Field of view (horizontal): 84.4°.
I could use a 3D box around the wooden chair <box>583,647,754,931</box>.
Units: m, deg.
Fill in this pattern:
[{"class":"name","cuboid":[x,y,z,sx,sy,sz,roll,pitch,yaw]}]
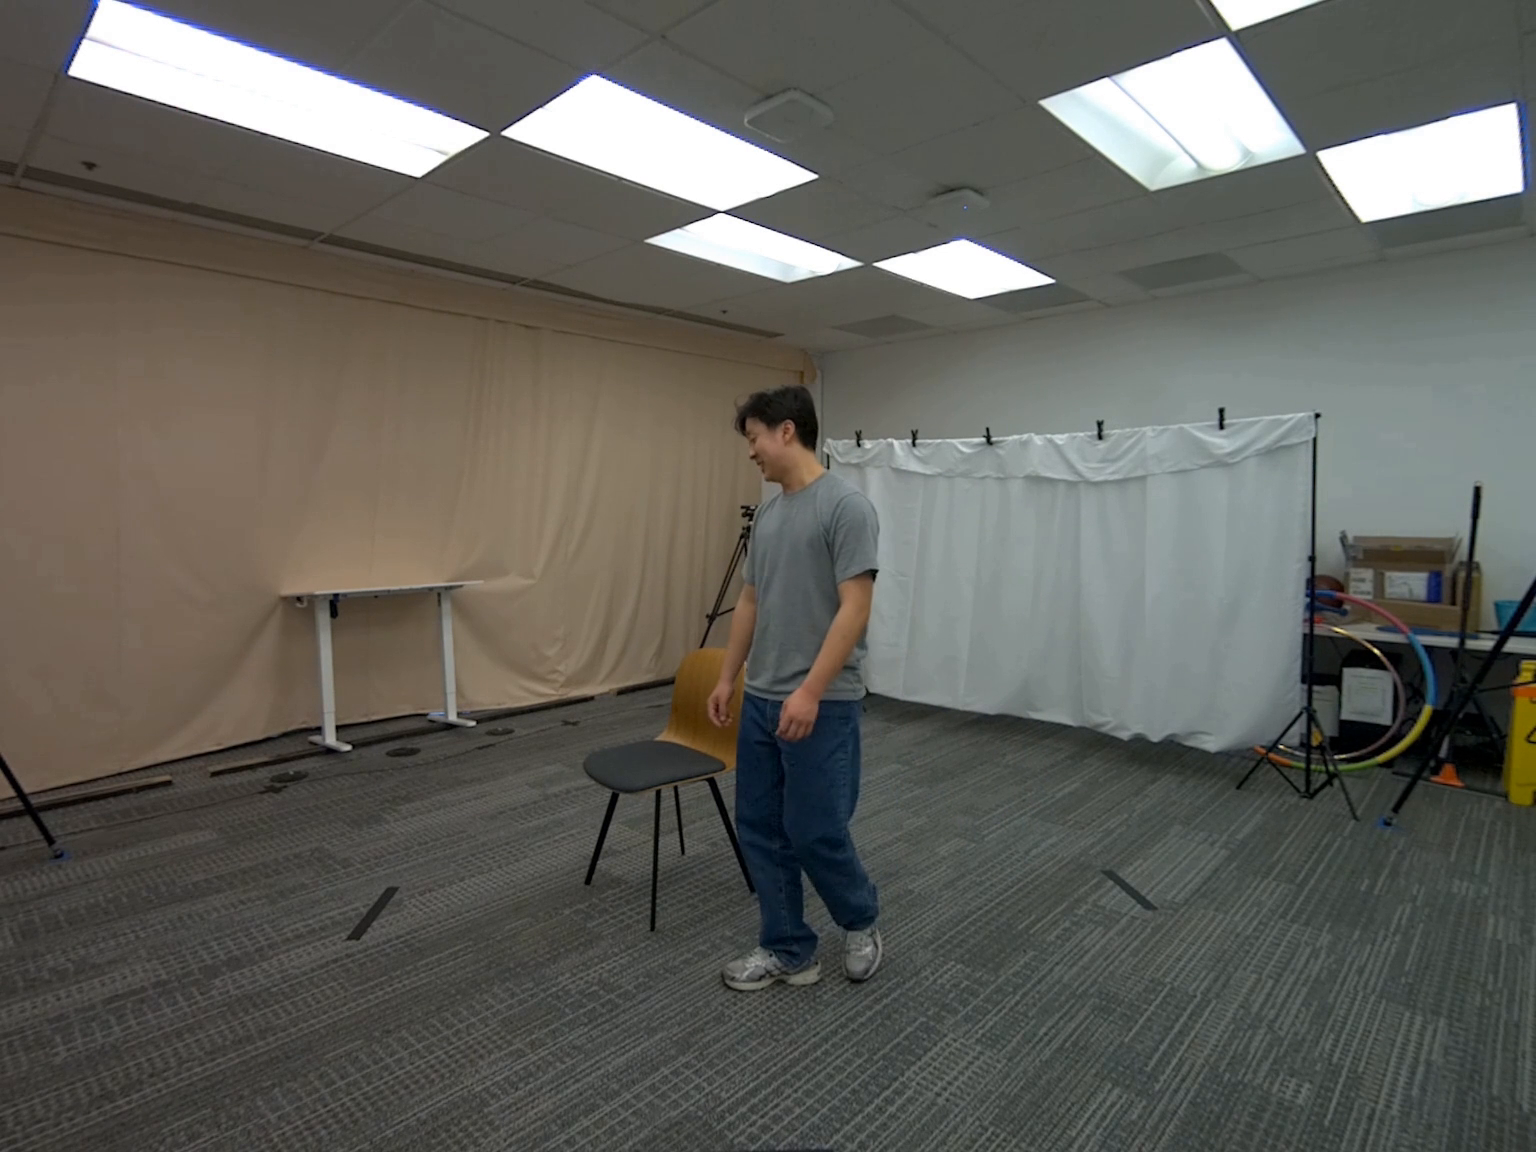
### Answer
[{"class":"wooden chair","cuboid":[-0.369,0.714,3.035,0.506,0.877,0.494,3,1,-40]}]
